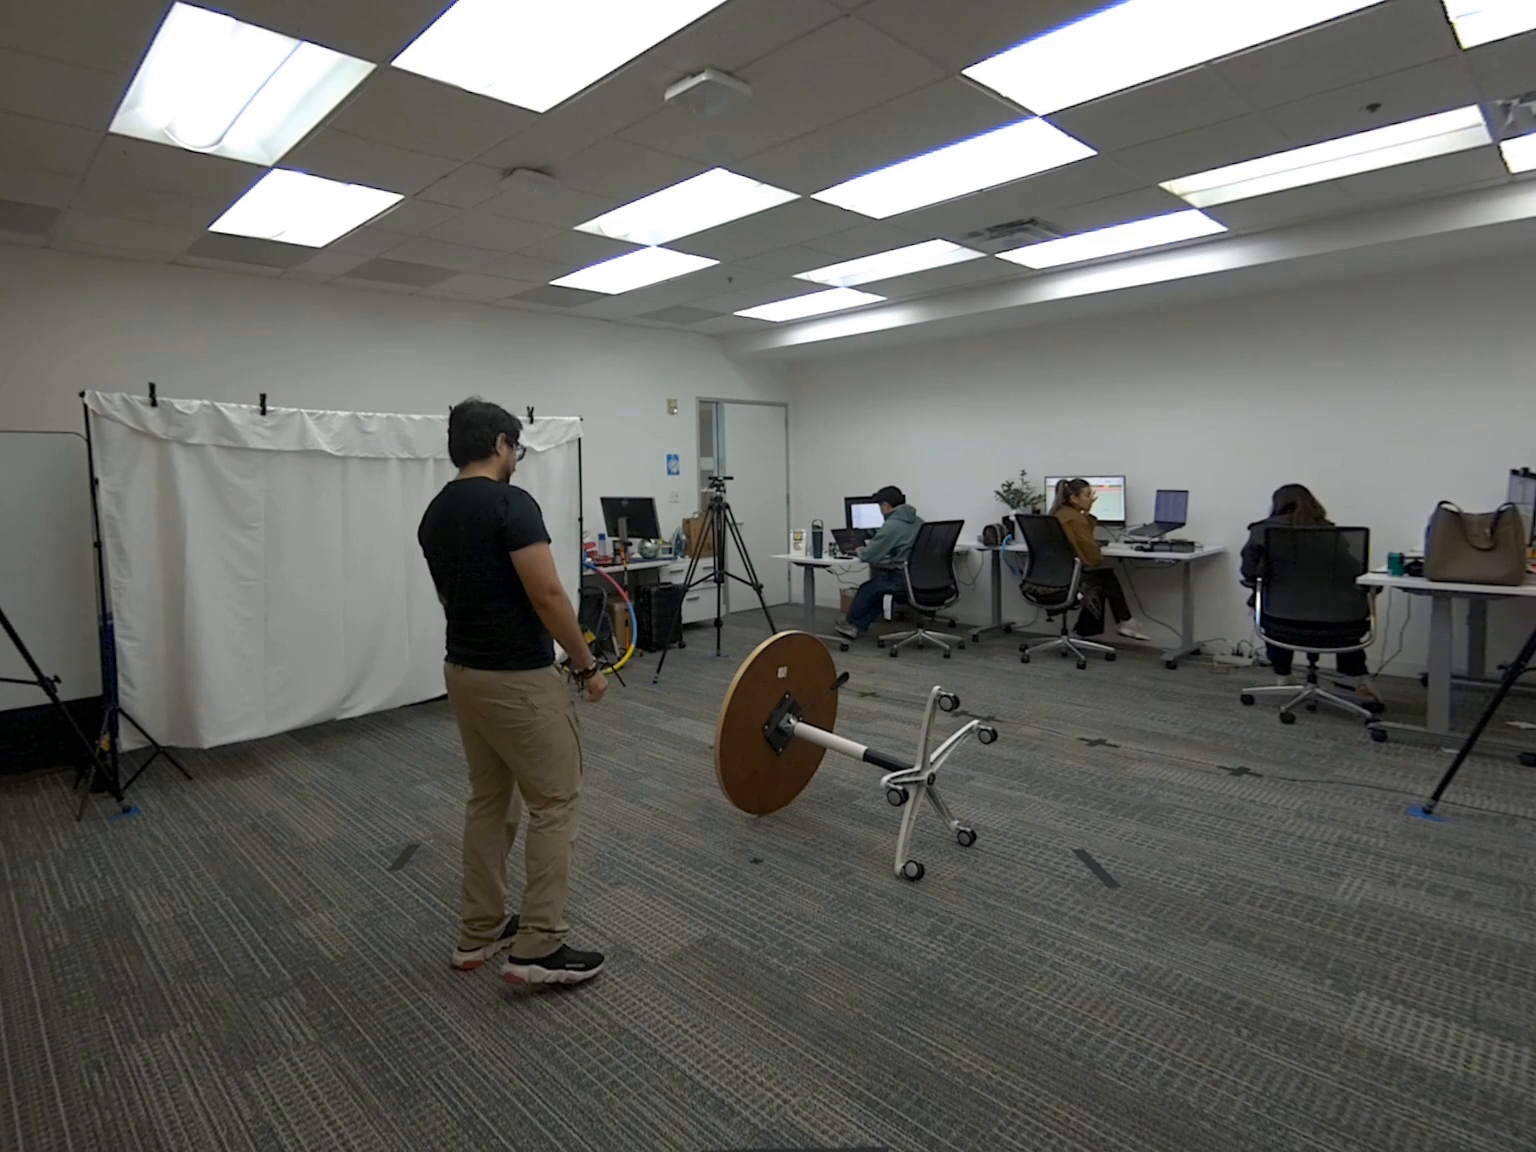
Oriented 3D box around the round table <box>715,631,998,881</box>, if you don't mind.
[{"bbox_3d":[0.343,0.679,3.268,0.814,0.779,0.765,13,13,41],"label":"round table"}]
